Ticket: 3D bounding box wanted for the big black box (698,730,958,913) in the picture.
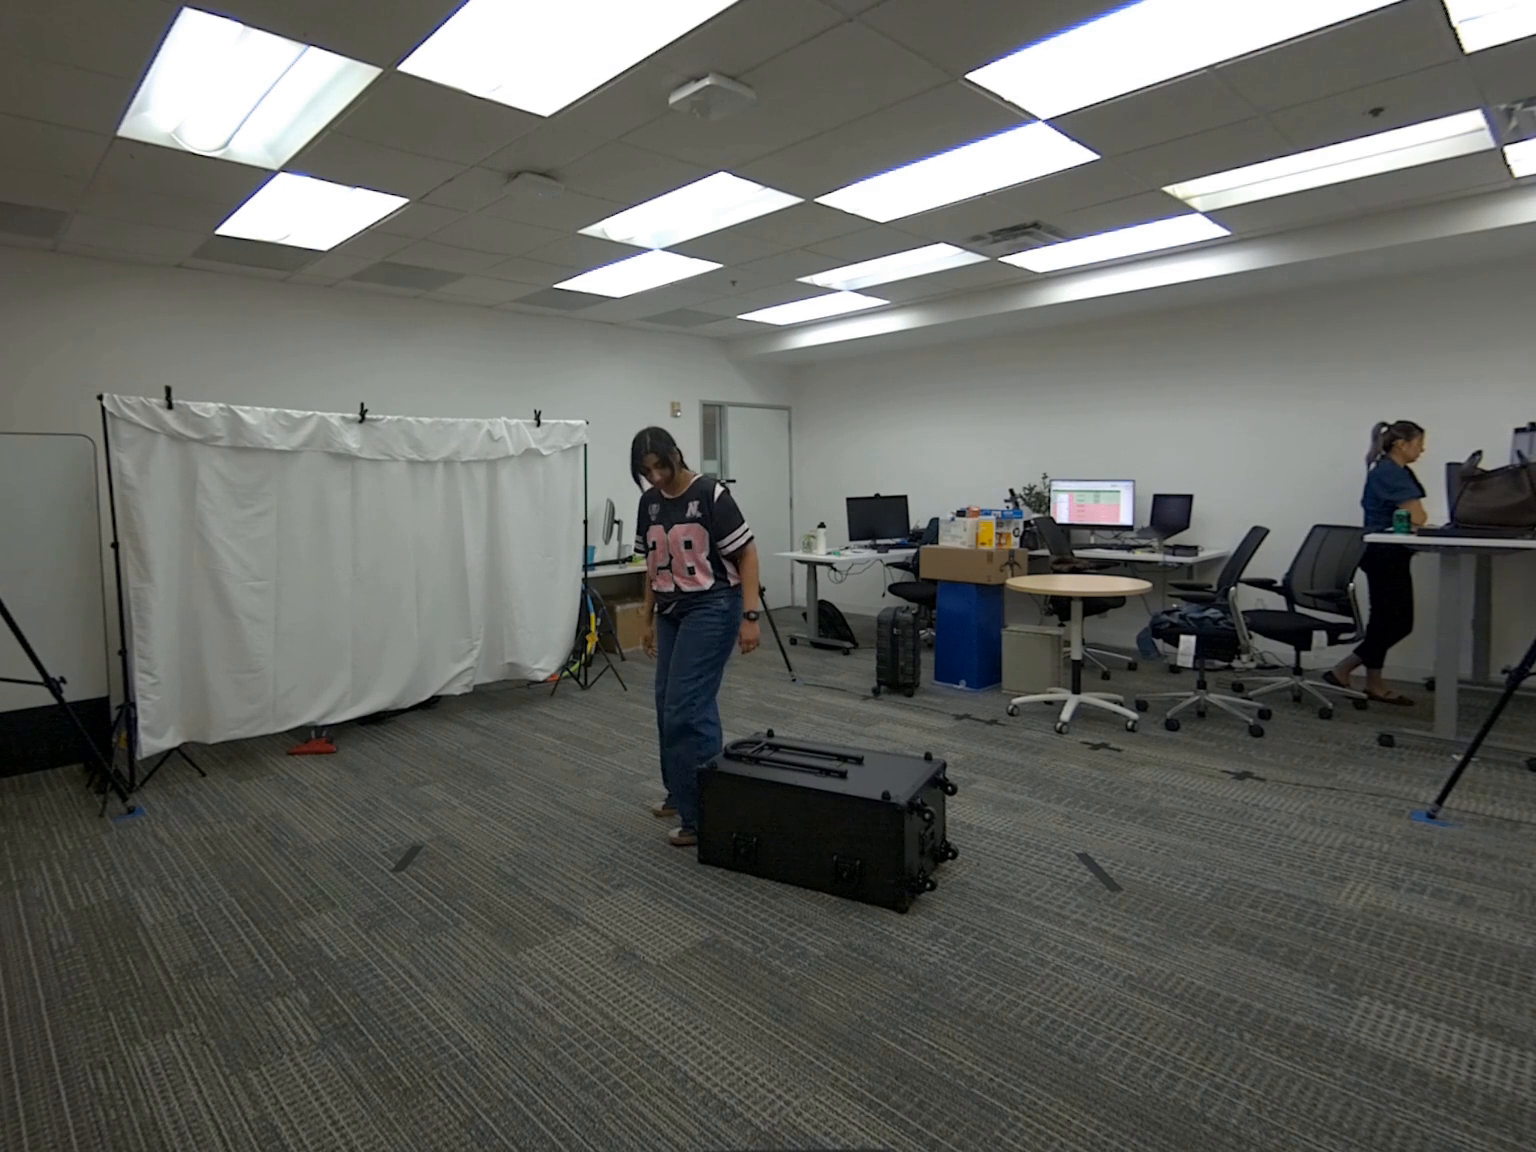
[{"bbox_3d":[0.236,0.856,3.106,0.891,0.384,0.512,3,5,29],"label":"big black box"}]
